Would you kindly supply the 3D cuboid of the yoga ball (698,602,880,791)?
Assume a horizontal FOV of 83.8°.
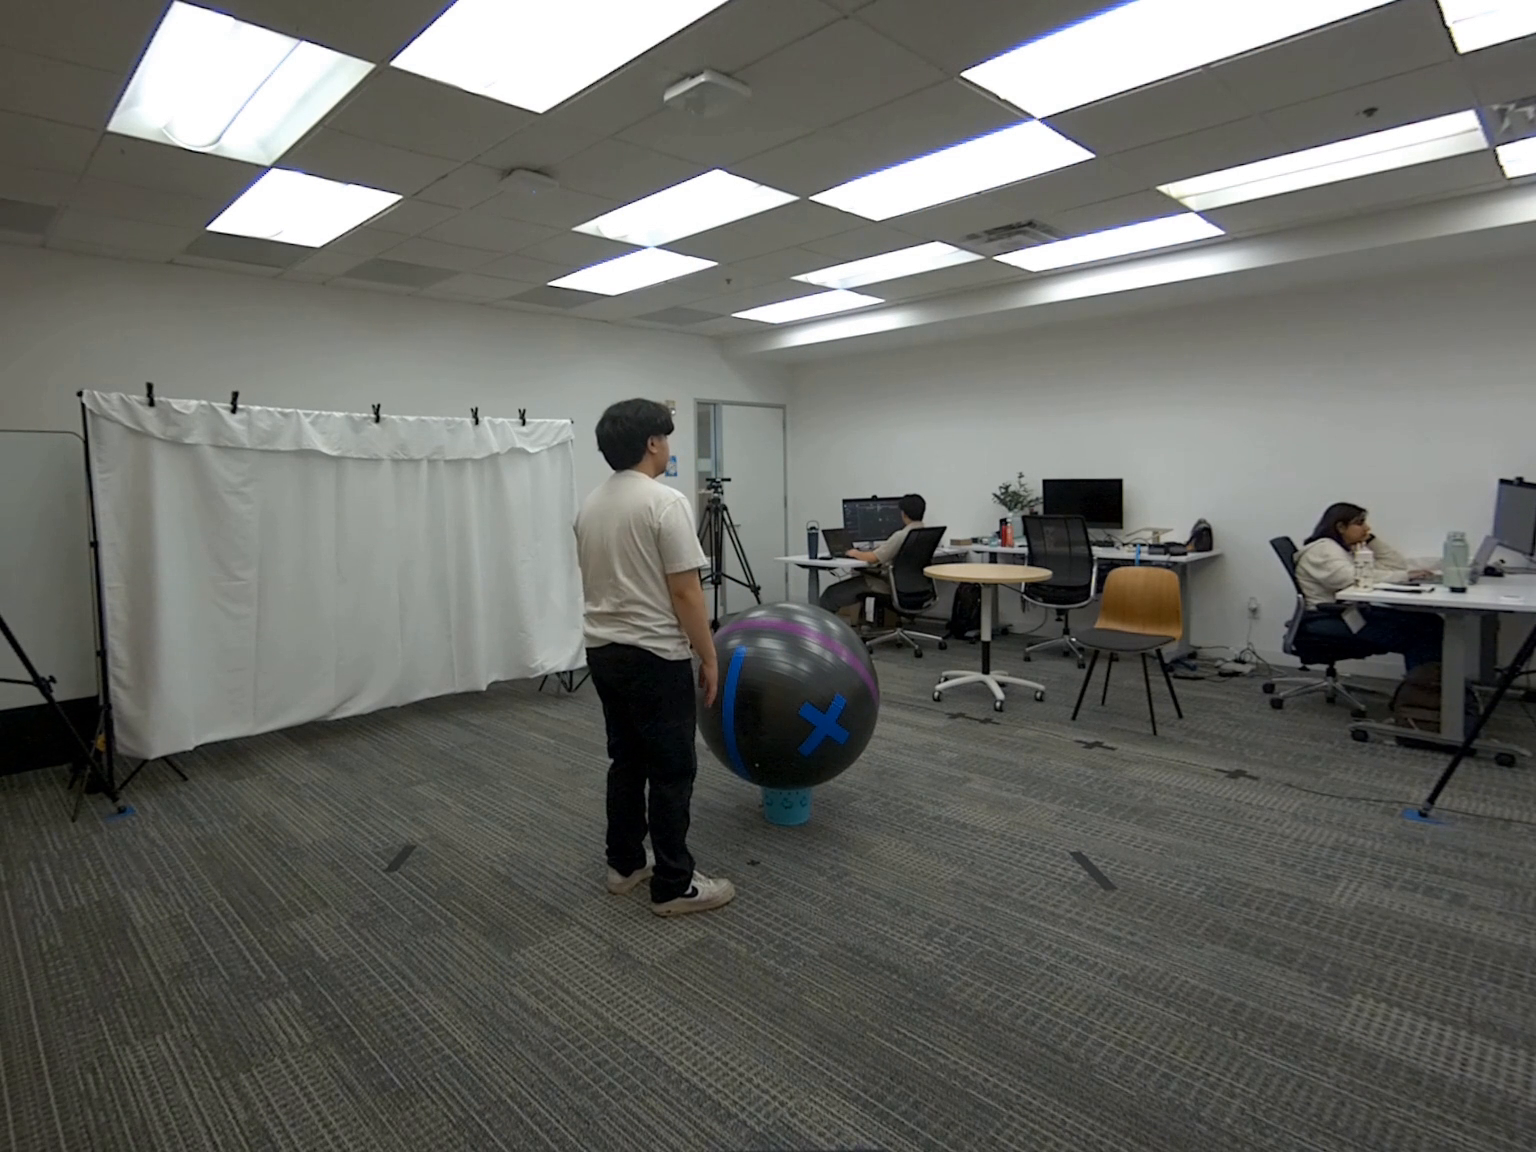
[{"bbox_3d":[0.077,0.488,3.498,0.757,0.755,0.762,-1,5,-2],"label":"yoga ball"}]
